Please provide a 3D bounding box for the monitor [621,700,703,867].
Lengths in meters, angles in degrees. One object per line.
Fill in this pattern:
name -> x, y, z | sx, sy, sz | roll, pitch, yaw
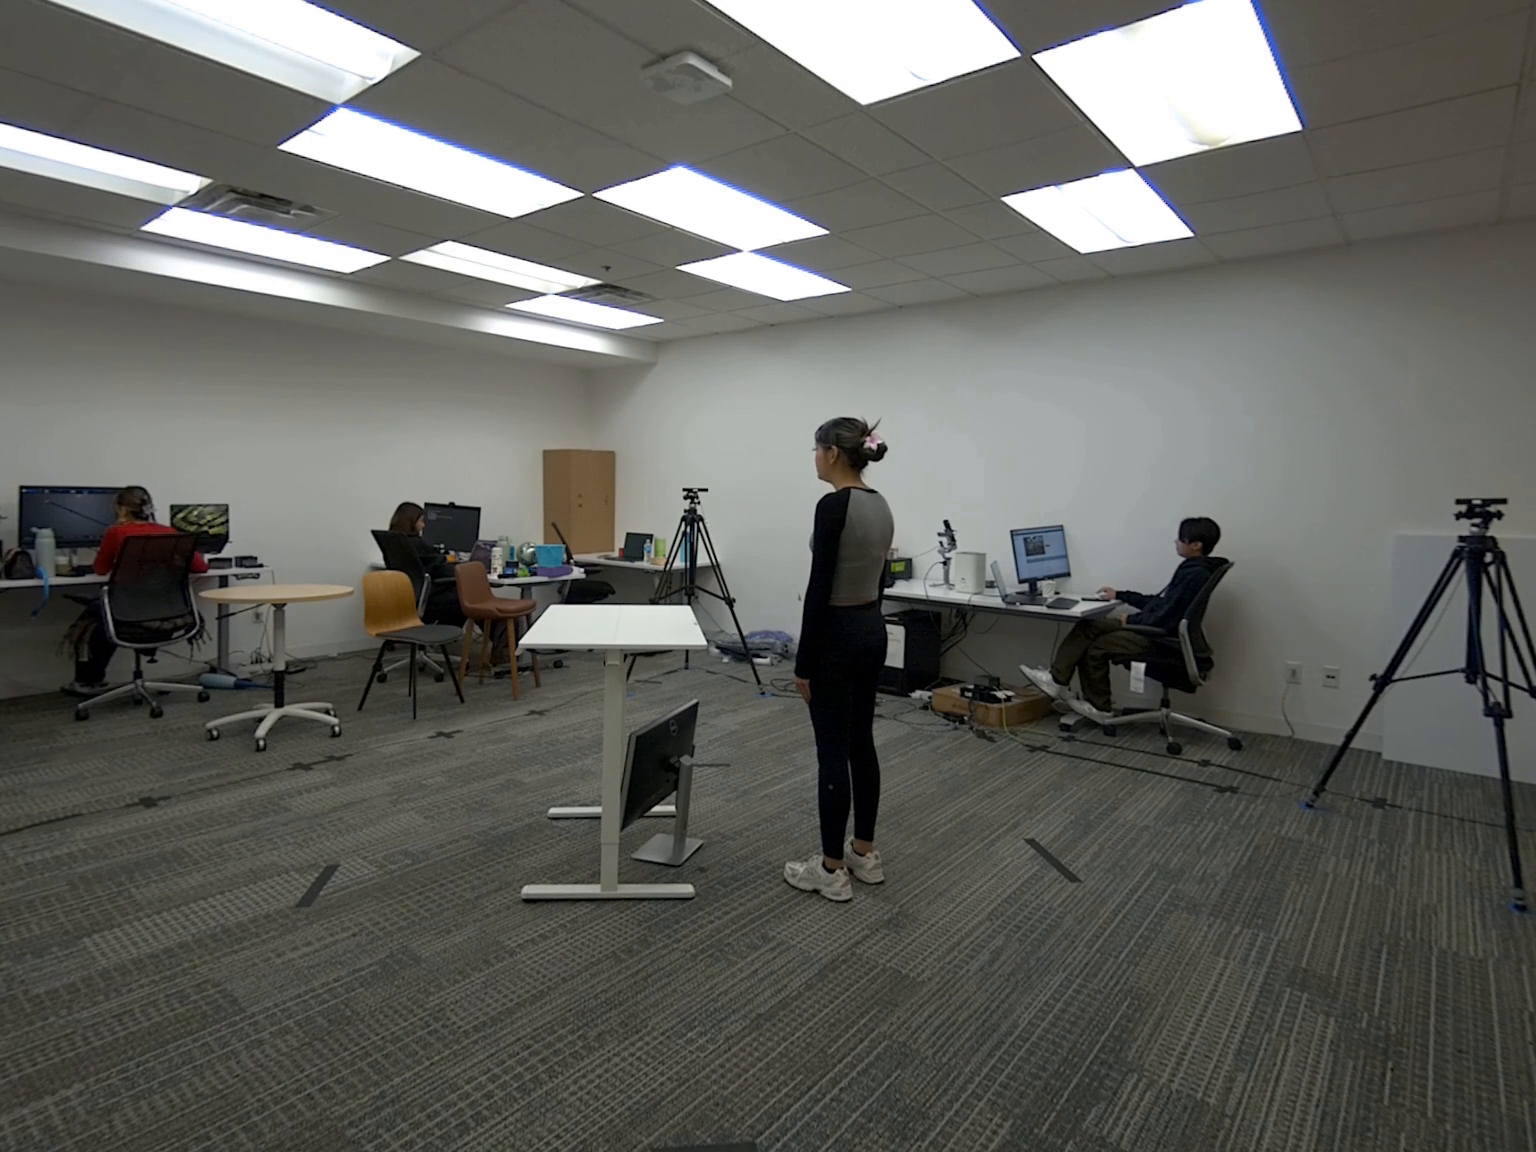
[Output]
monitor -> -0.392, 0.795, 3.251 | 0.191, 0.521, 0.529 | -1, 3, 19
